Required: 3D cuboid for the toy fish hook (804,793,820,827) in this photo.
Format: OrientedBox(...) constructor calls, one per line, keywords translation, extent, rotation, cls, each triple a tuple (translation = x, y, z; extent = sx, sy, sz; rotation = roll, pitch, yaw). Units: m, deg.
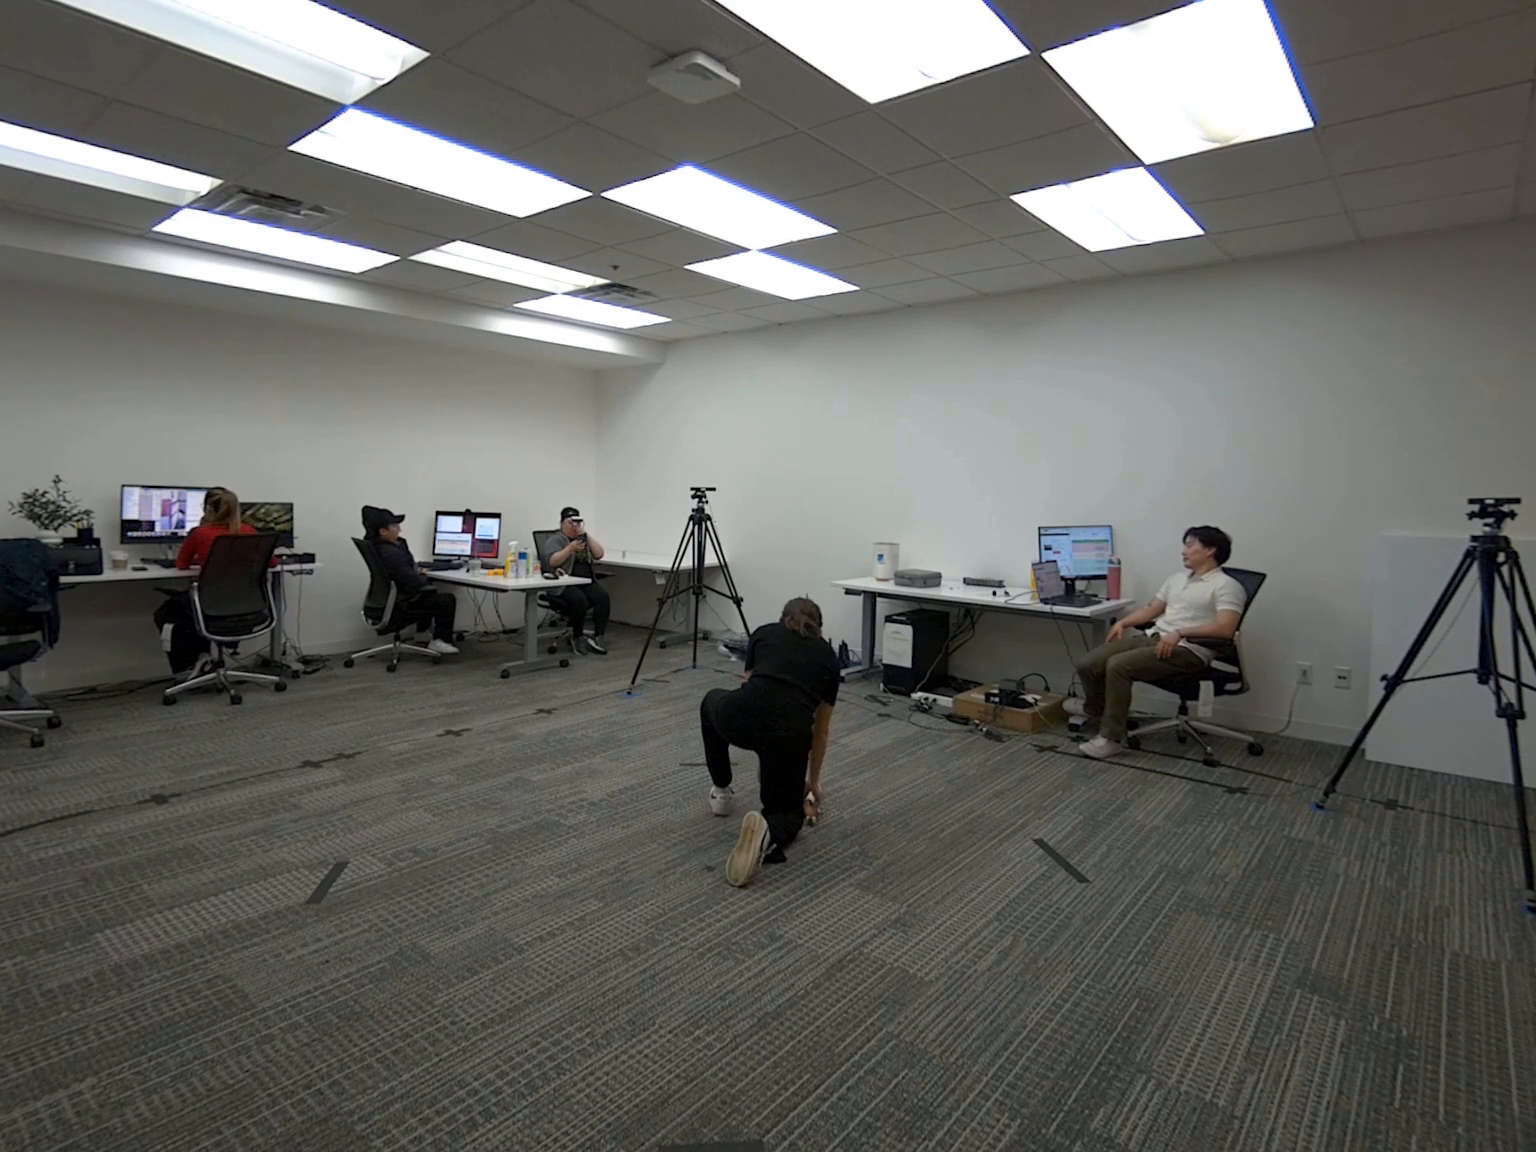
OrientedBox(translation=(0.113, 0.985, 3.763), extent=(0.225, 0.048, 0.508), rotation=(-6, 5, 0), cls="toy fish hook")
